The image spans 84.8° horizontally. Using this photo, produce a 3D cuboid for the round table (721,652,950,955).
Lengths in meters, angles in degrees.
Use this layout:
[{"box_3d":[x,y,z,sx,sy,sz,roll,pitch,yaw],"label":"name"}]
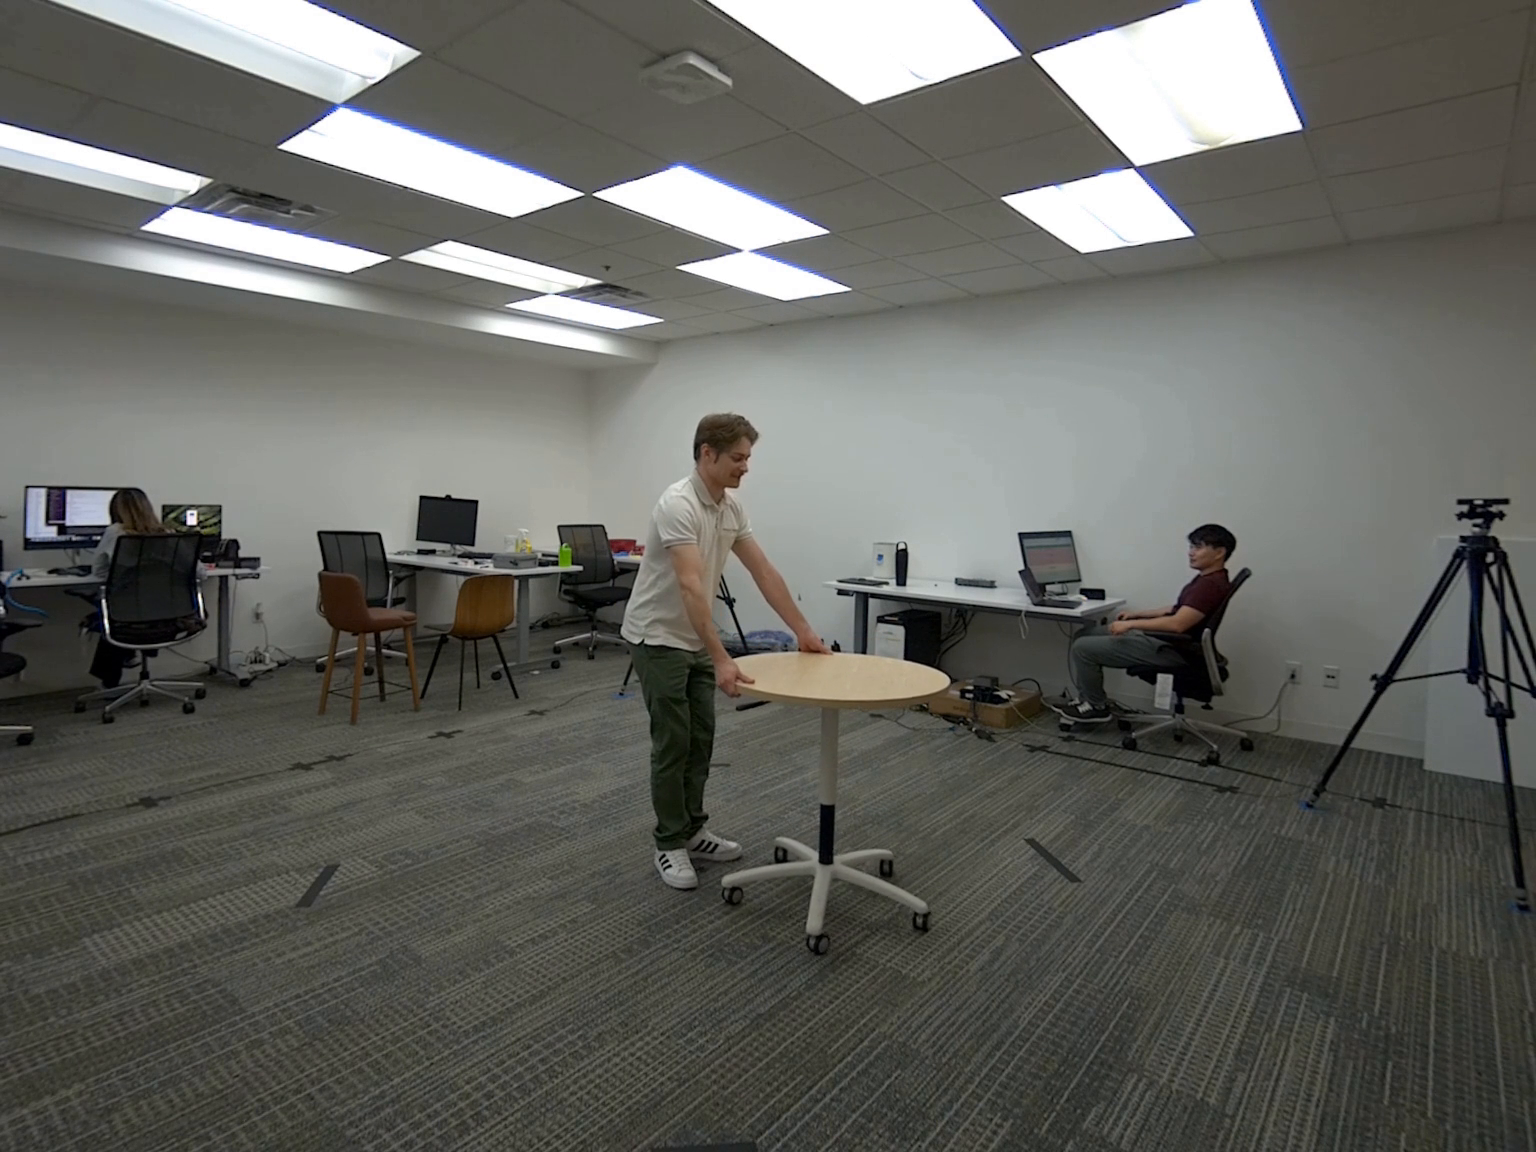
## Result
[{"box_3d":[0.195,0.715,2.856,0.763,0.791,0.768,1,4,-2],"label":"round table"}]
